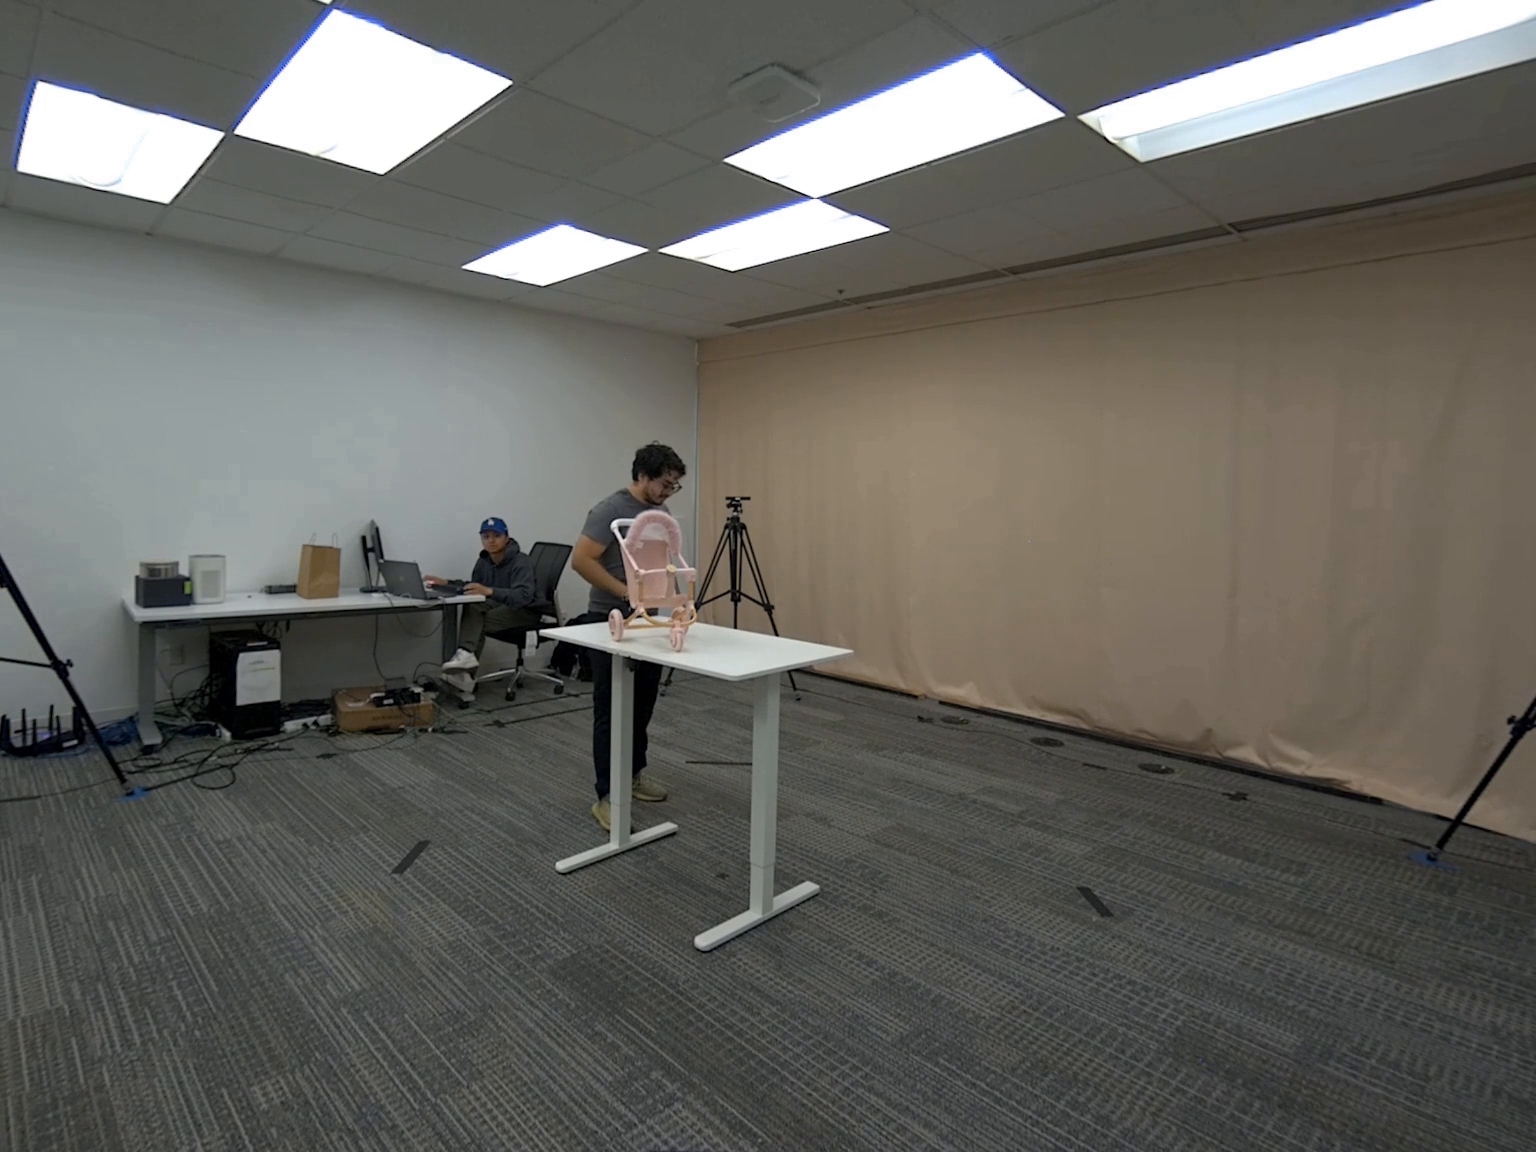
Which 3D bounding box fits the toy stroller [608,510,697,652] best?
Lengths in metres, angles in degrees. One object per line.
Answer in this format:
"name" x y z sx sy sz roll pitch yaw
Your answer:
"toy stroller" -0.397 0.011 2.941 0.276 0.540 0.344 0 -13 -25
